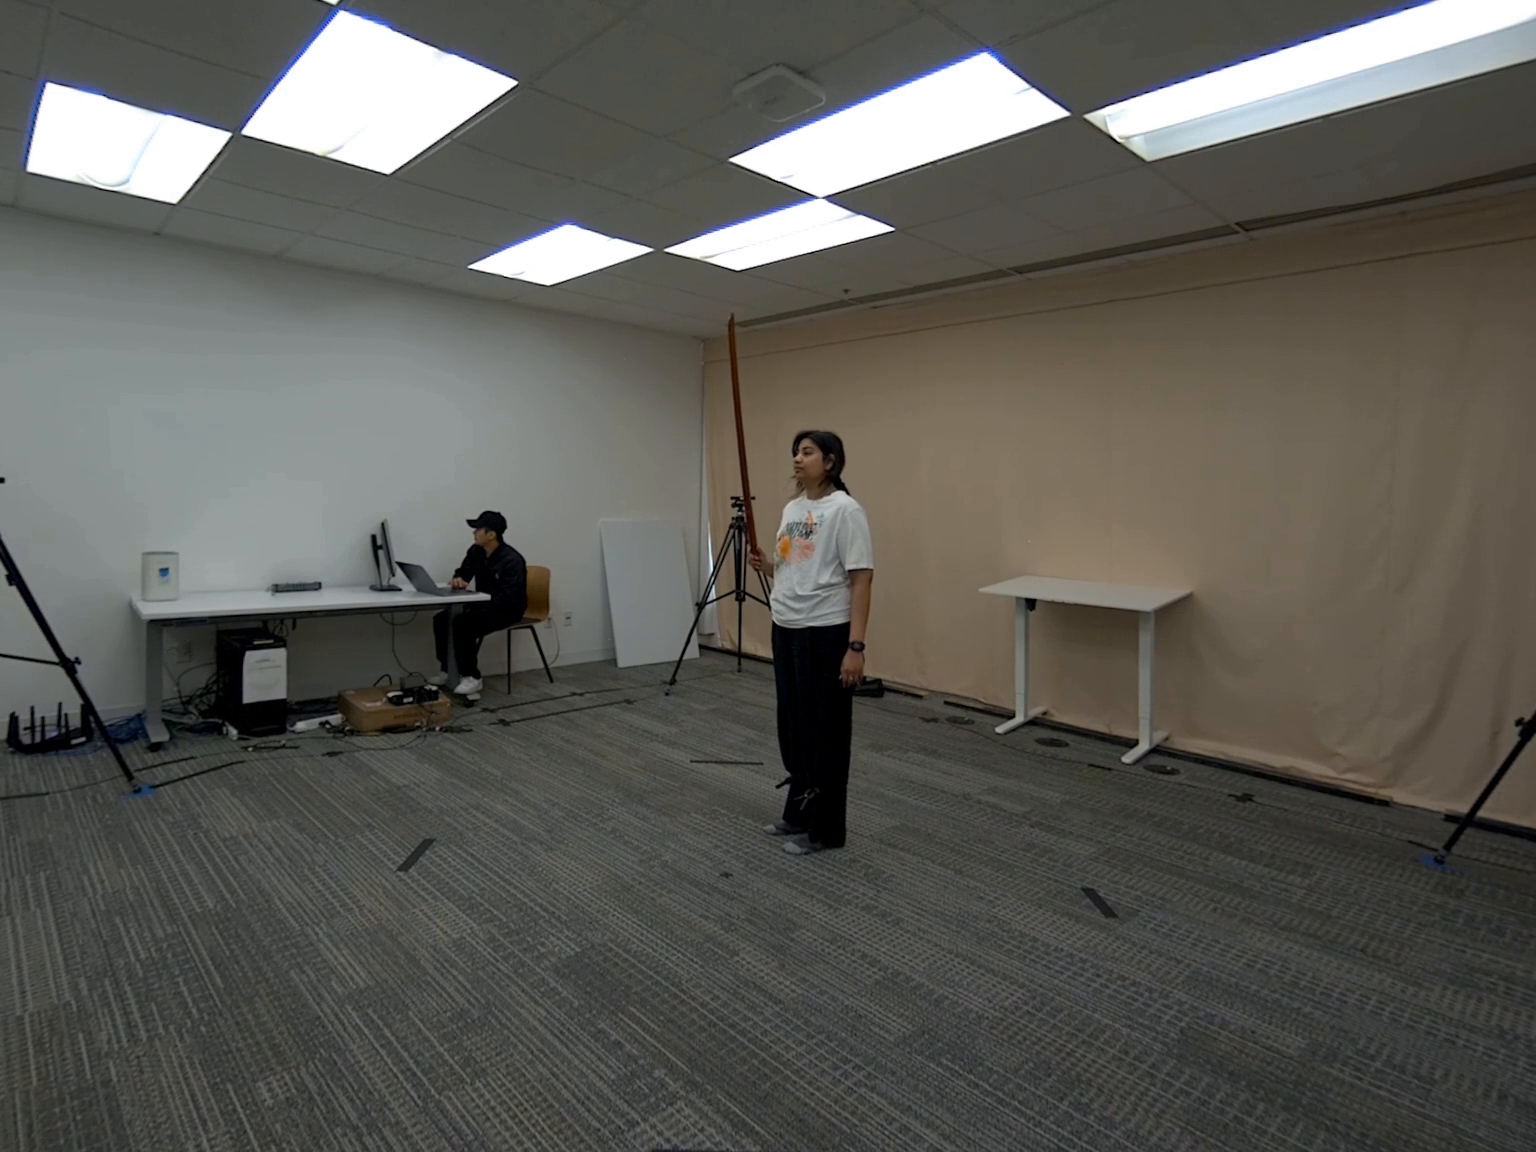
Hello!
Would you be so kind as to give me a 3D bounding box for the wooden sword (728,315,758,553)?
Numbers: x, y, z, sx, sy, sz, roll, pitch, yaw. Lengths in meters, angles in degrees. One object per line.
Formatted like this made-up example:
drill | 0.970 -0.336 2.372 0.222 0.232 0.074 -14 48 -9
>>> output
wooden sword | -0.107 -0.485 3.231 0.024 1.007 0.052 -9 23 -7
